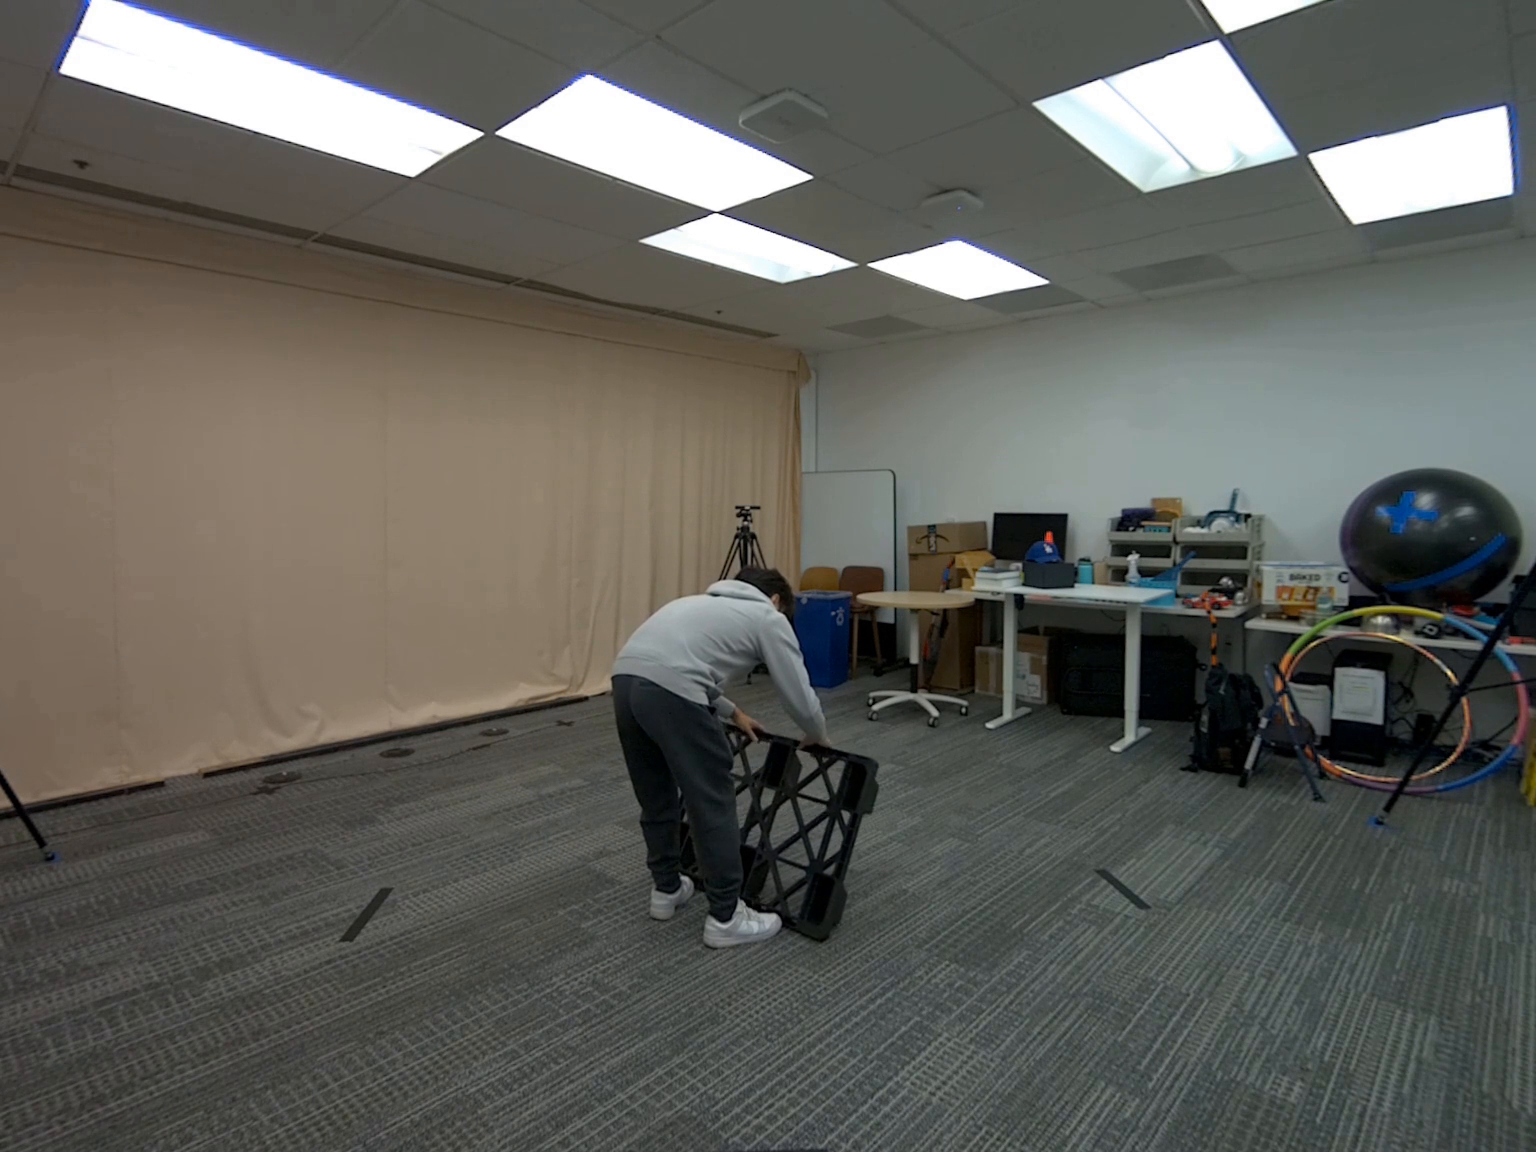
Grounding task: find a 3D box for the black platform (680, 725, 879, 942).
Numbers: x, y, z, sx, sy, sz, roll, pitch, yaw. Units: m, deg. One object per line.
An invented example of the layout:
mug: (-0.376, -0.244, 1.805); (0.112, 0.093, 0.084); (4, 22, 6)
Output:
black platform: (0.000, 0.893, 3.067); (0.832, 0.607, 0.138); (4, -23, 42)
